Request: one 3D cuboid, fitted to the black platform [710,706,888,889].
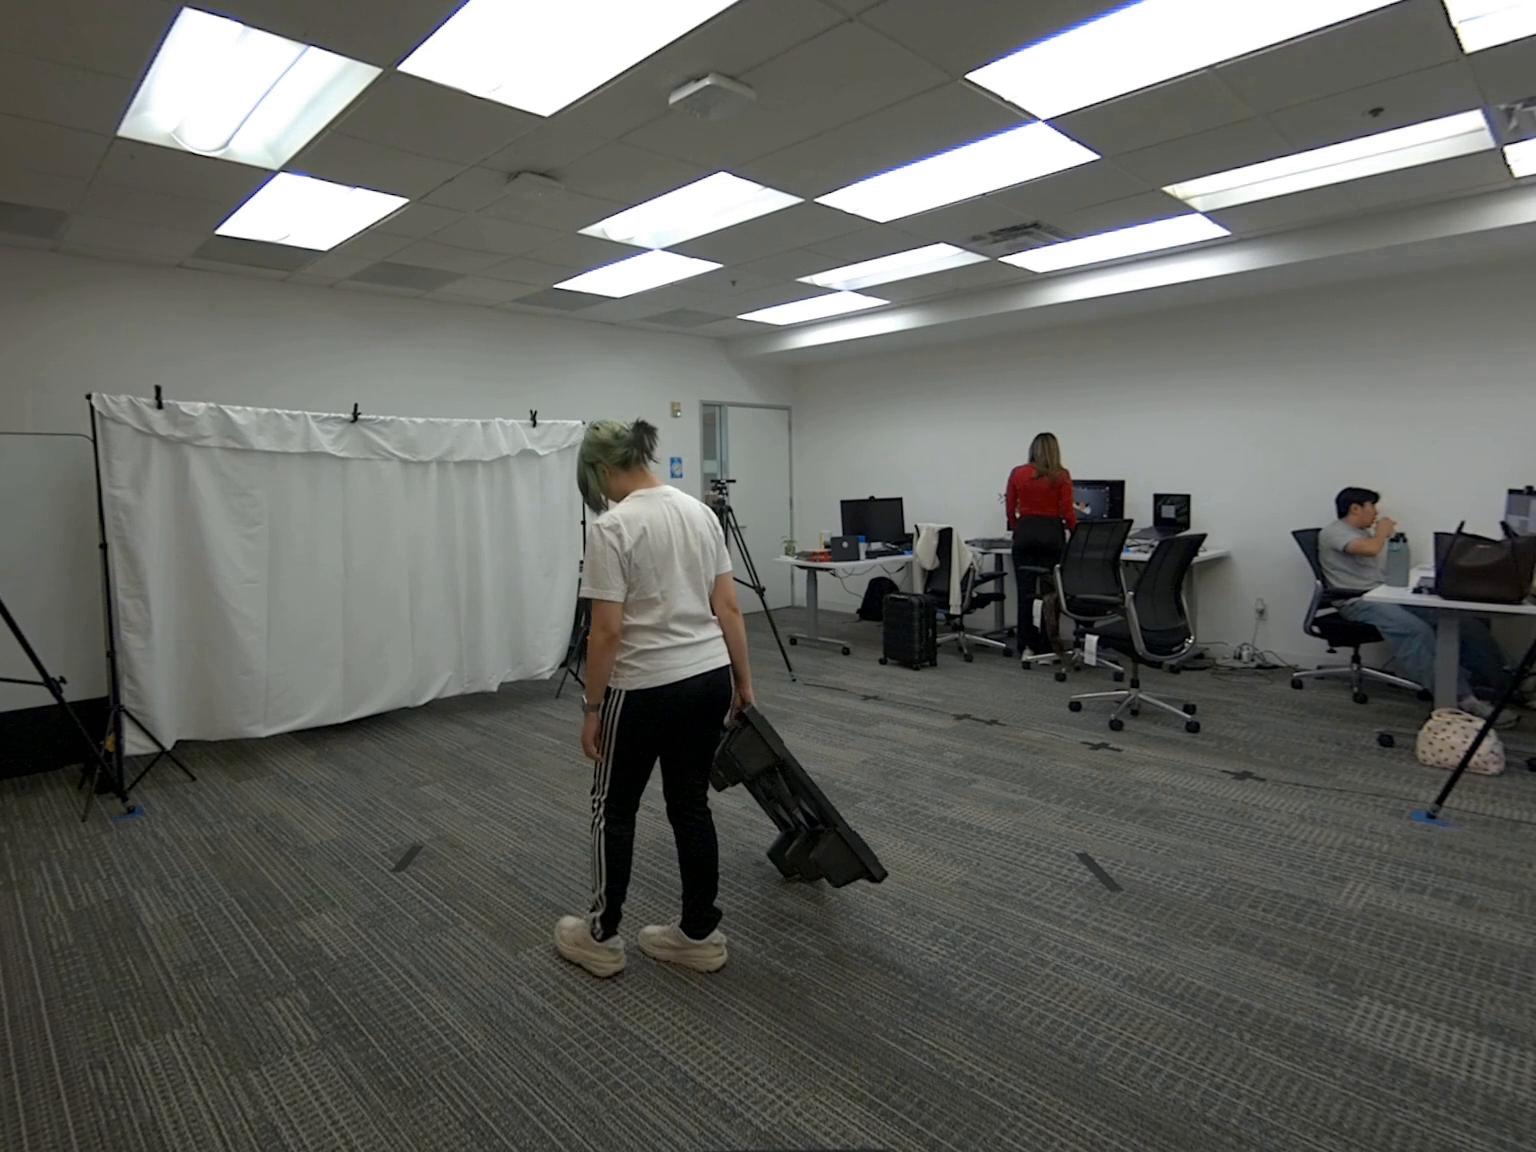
[{"bbox_3d":[0.024,0.735,2.713,0.142,0.614,0.799,-35,-9,-18],"label":"black platform"}]
